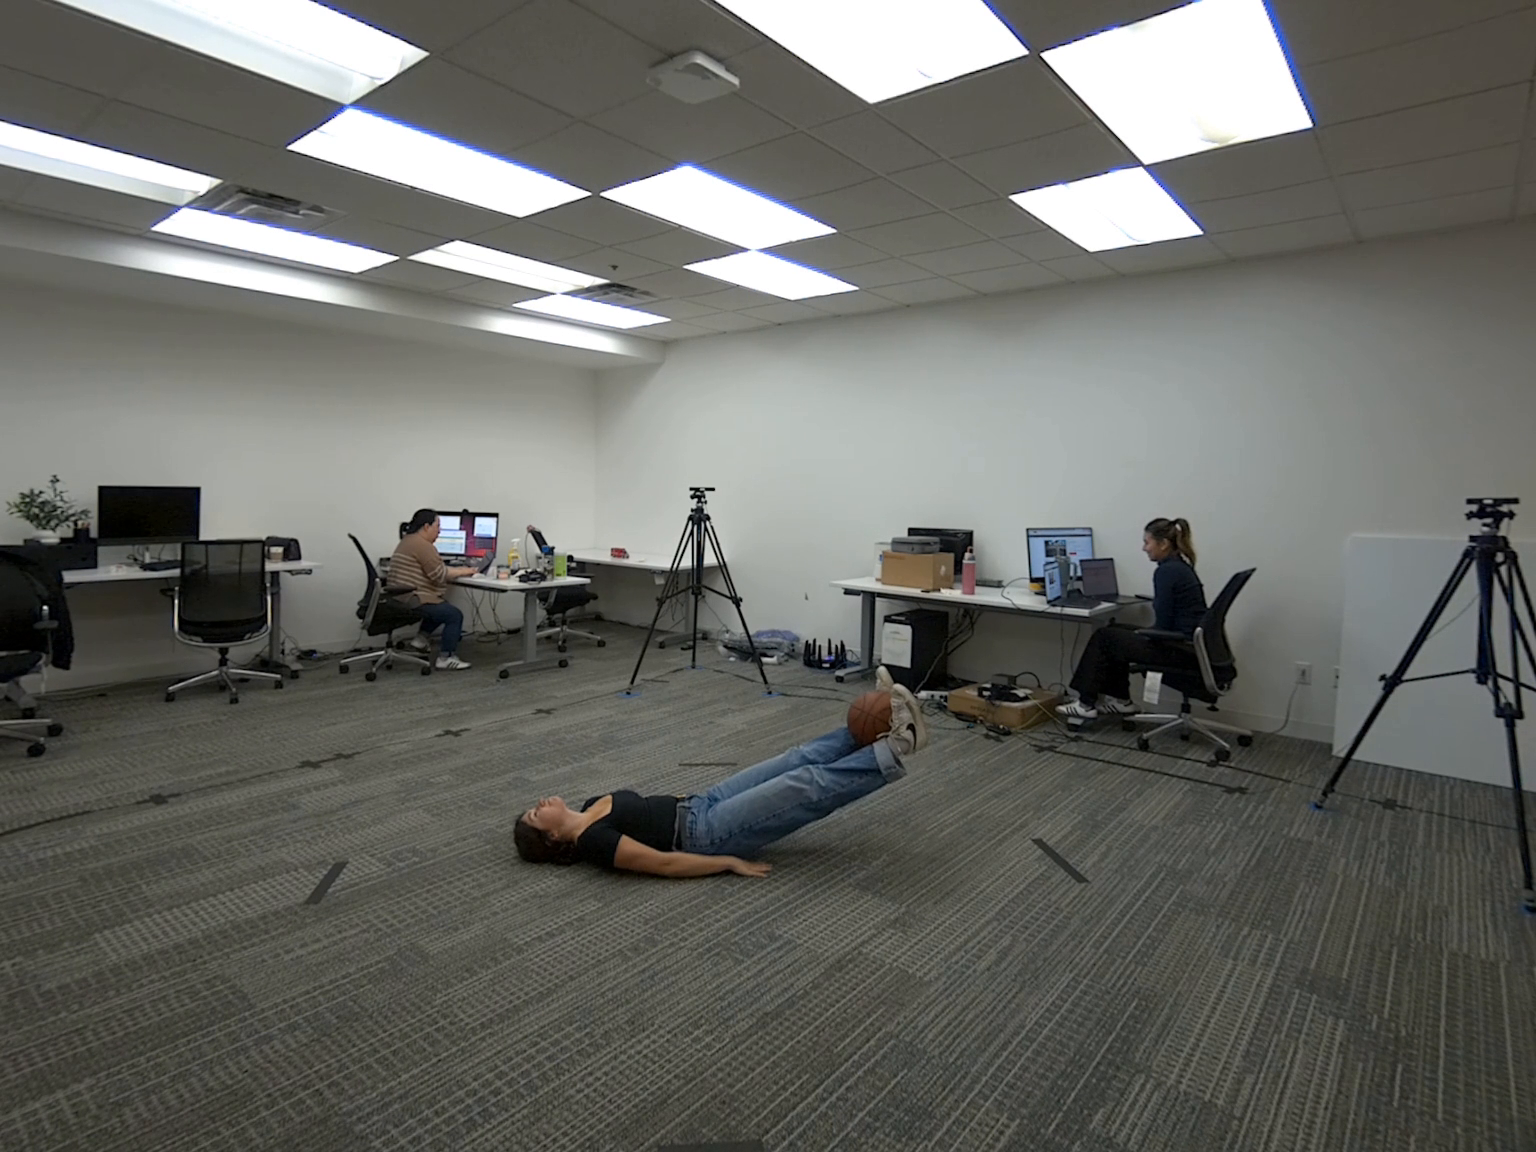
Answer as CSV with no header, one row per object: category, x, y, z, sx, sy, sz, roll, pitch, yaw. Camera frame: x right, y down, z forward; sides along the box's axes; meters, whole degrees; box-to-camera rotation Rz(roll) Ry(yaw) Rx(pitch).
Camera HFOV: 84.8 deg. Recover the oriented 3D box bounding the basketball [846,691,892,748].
basketball,0.422,0.565,3.301,0.235,0.235,0.237,1,4,-2
